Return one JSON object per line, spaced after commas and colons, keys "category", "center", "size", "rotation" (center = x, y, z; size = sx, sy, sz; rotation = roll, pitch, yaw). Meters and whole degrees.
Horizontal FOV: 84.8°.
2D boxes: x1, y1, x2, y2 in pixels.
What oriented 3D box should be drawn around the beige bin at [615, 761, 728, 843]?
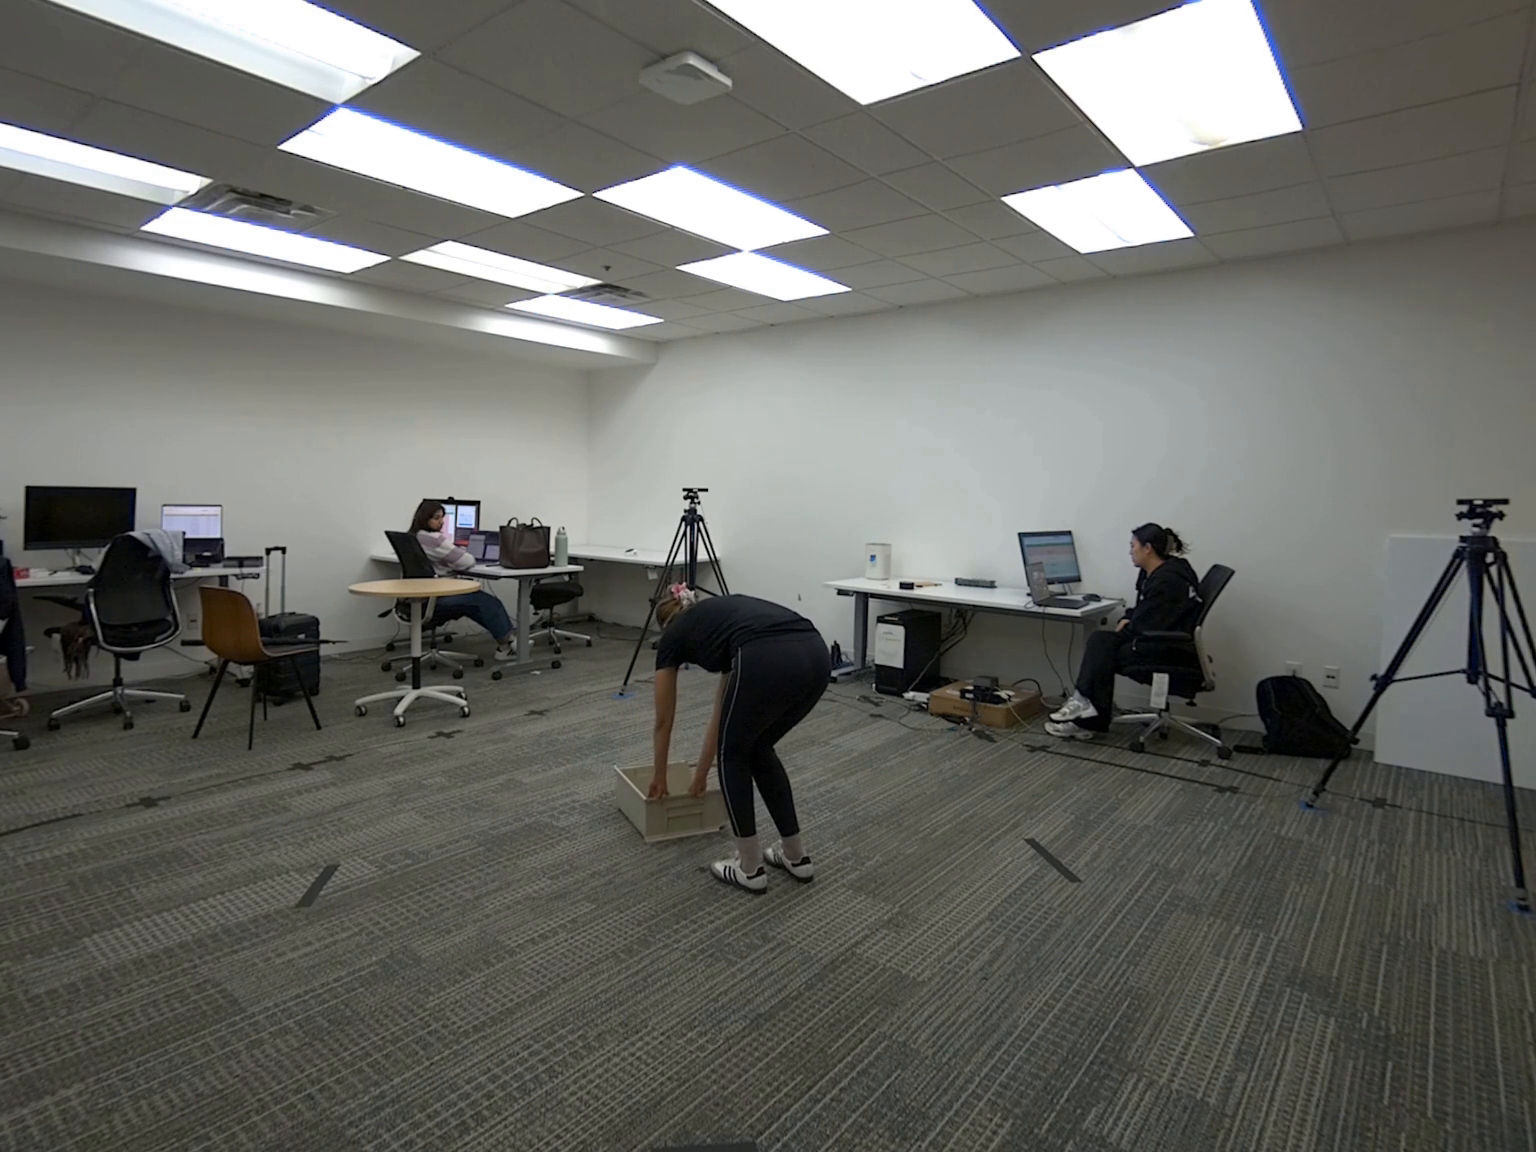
{"category": "beige bin", "center": [-0.425, 0.930, 3.584], "size": [0.368, 0.188, 0.435], "rotation": [-2, 7, -26]}
